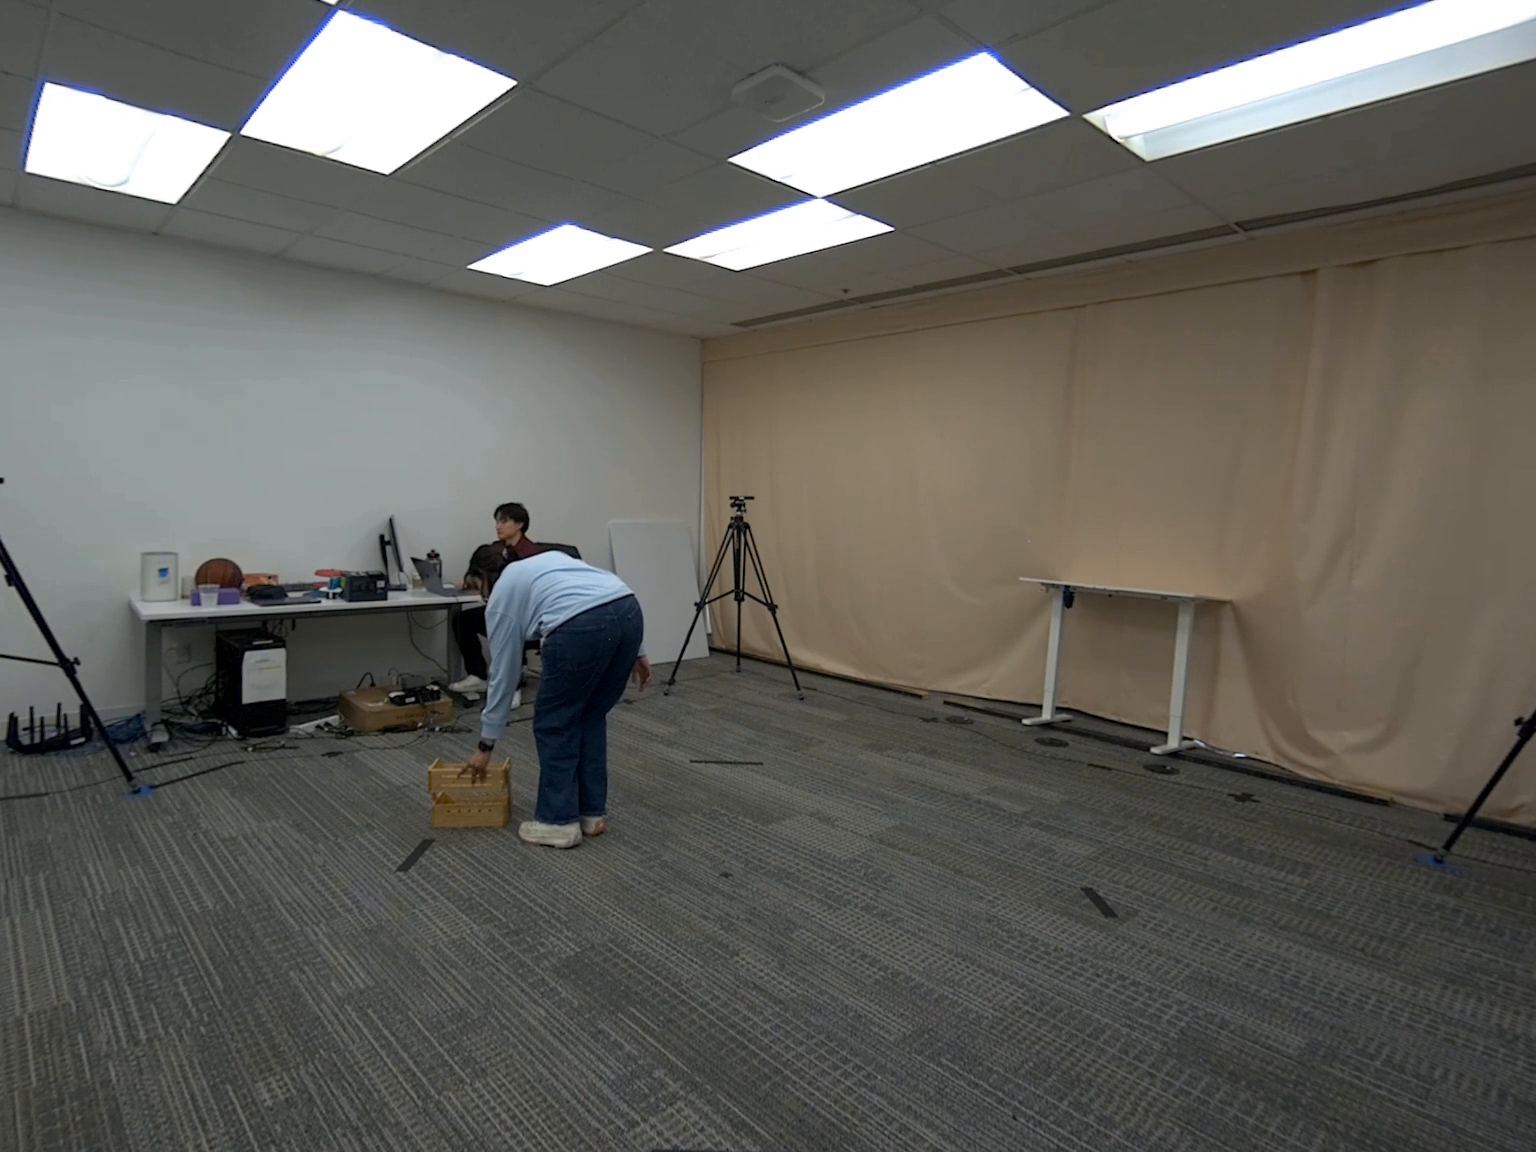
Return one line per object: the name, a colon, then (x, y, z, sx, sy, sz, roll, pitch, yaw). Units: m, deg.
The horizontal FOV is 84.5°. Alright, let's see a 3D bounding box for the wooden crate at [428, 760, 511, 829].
wooden crate: (-1.269, 0.897, 3.602, 0.323, 0.272, 0.305, 1, 5, -7)
